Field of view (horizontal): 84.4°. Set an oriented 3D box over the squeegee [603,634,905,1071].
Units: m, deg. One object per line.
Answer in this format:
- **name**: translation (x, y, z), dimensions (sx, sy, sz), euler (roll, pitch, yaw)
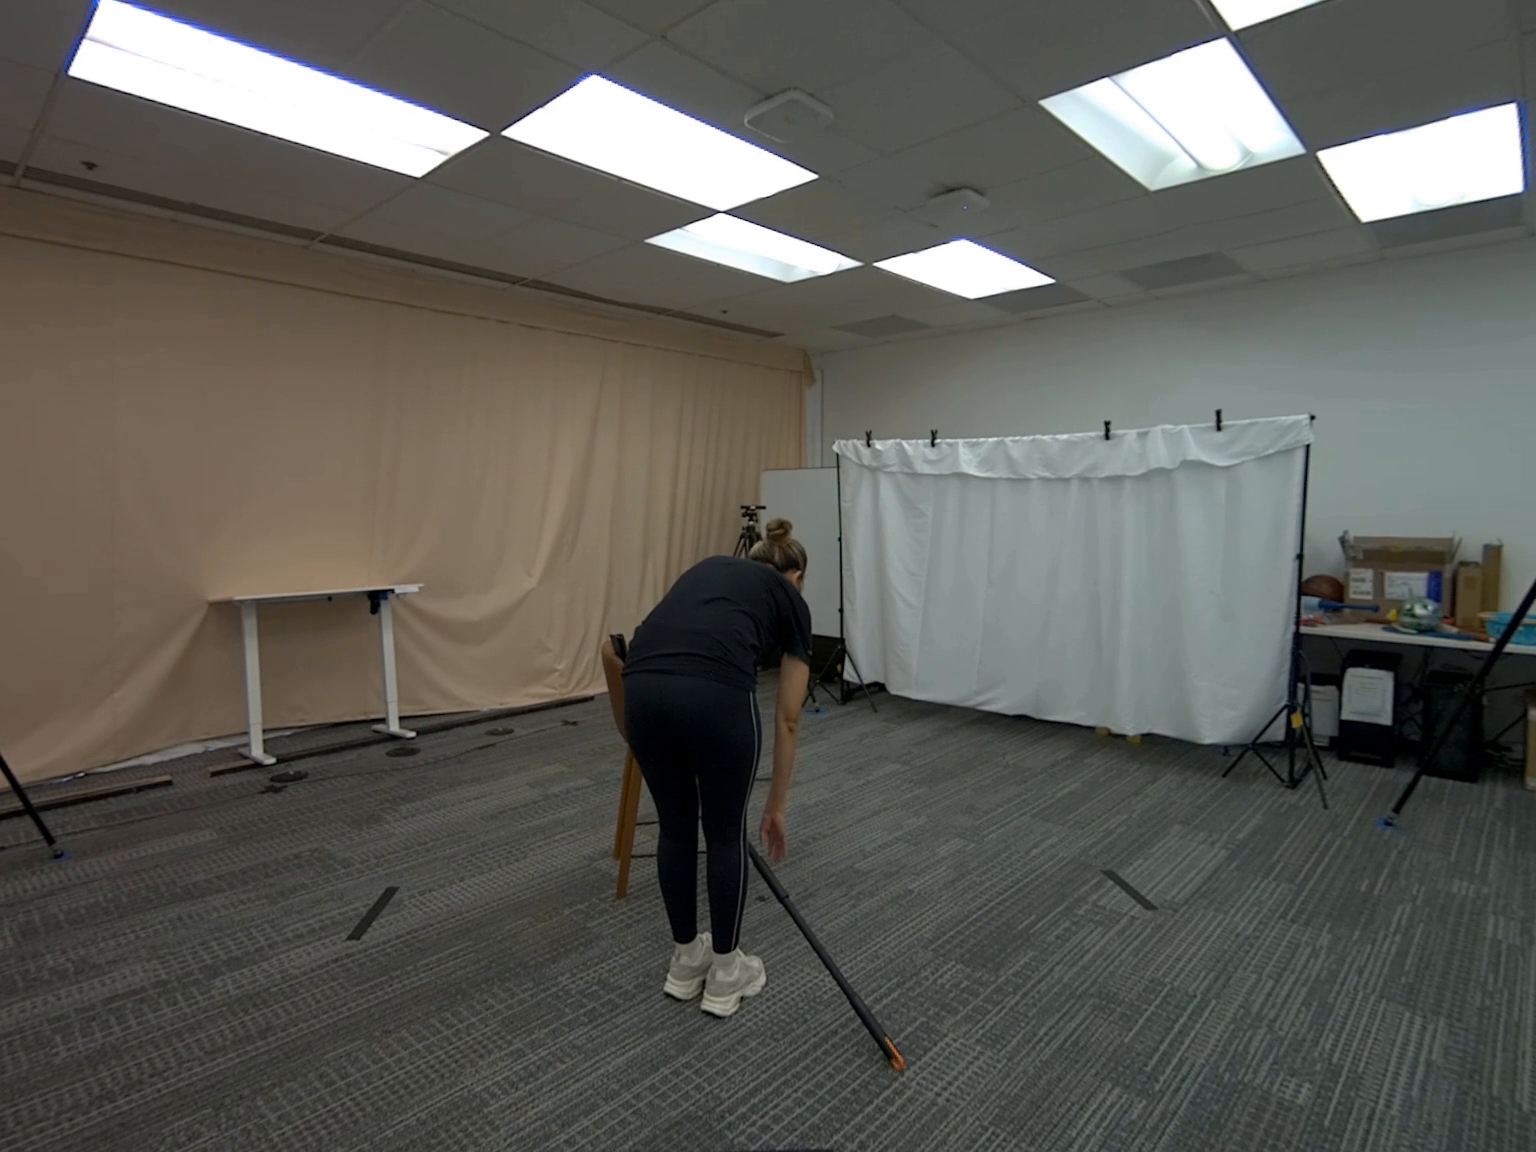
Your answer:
- **squeegee**: translation (-0.082, 0.764, 2.600), dimensions (0.052, 0.428, 1.593), euler (-25, 47, -22)
